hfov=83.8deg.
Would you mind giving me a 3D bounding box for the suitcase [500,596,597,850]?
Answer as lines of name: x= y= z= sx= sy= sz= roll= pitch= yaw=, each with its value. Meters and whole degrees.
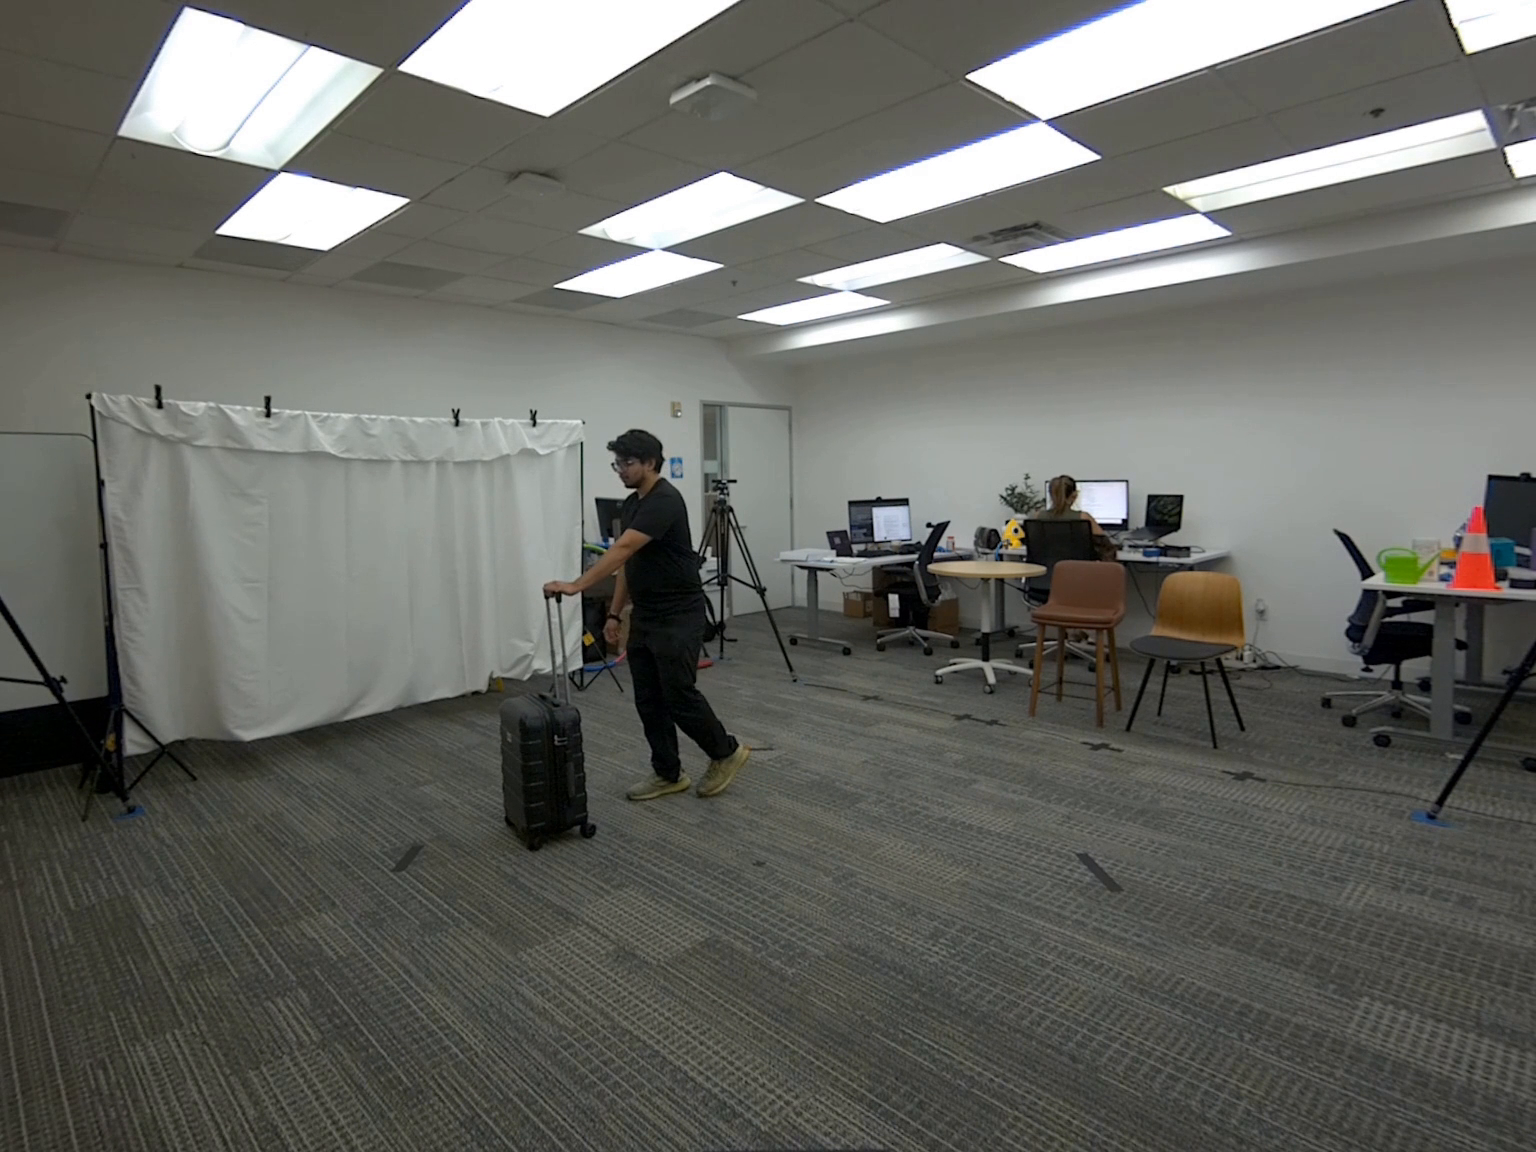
suitcase: x=-0.915 y=0.556 z=3.395 sx=0.251 sy=0.973 sz=0.394 roll=-7 pitch=7 yaw=-29
